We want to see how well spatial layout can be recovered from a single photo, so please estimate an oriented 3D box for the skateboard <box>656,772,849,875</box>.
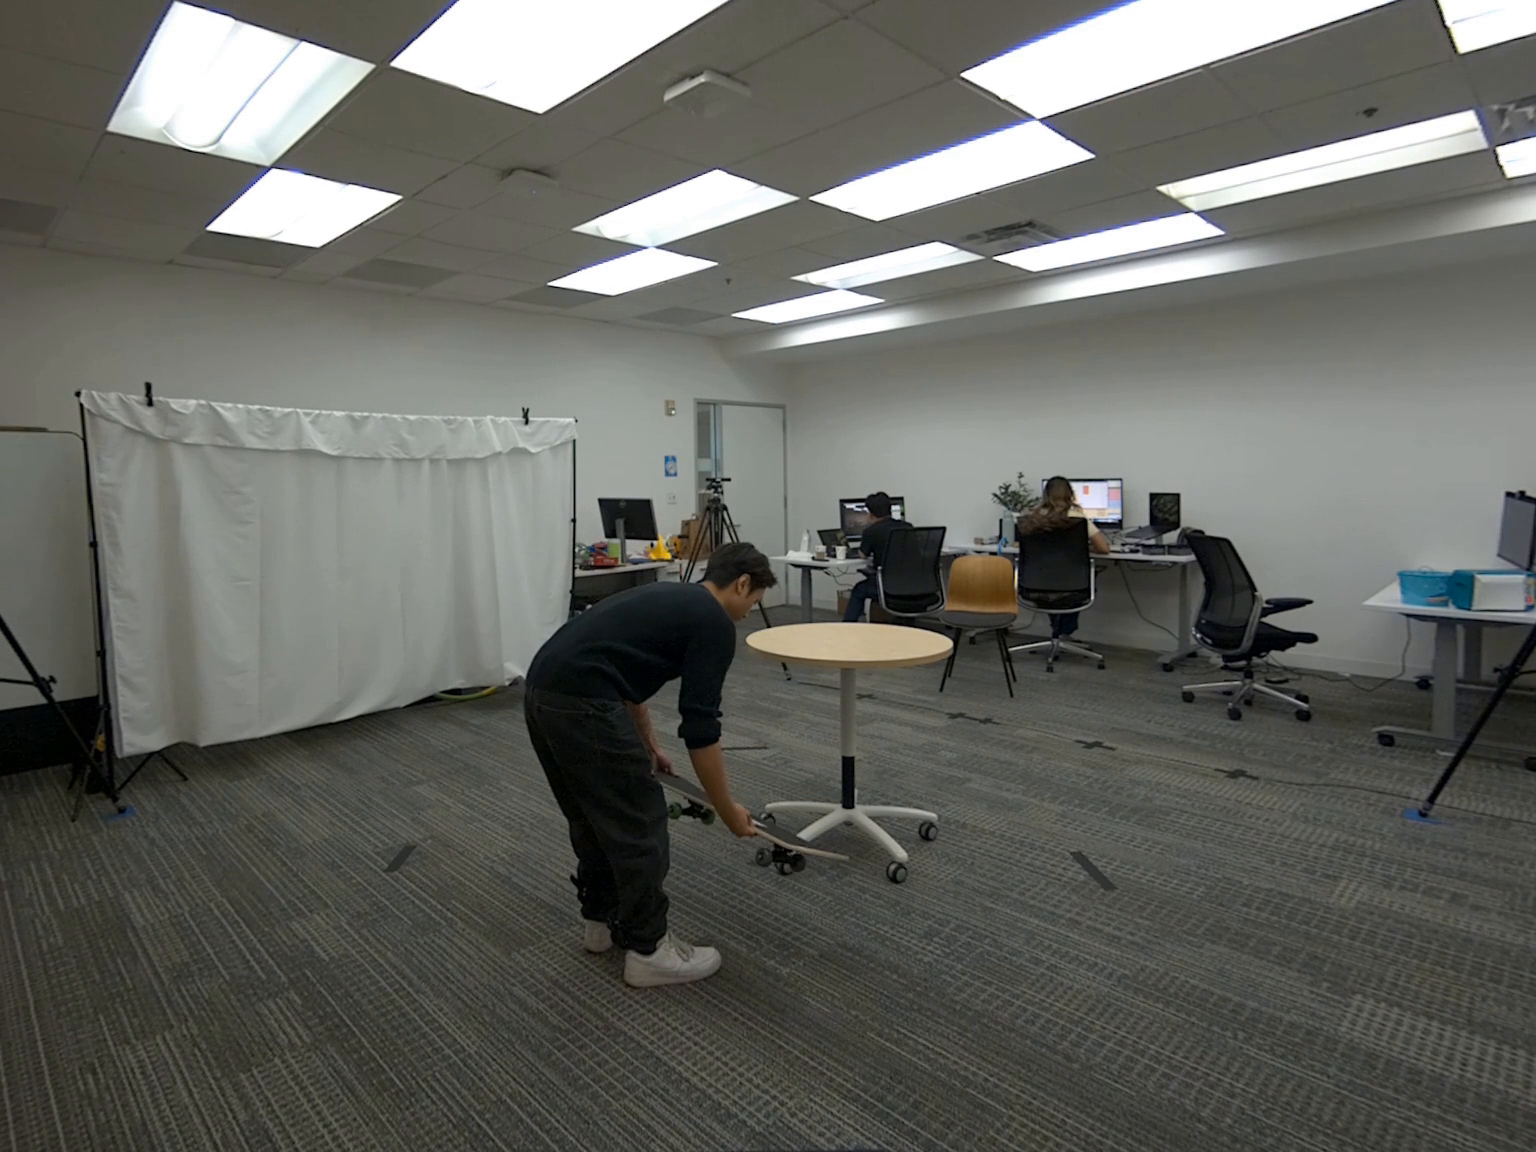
[{"bbox_3d":[-0.081,0.759,2.586,0.812,0.111,0.186,10,-12,44],"label":"skateboard"}]
